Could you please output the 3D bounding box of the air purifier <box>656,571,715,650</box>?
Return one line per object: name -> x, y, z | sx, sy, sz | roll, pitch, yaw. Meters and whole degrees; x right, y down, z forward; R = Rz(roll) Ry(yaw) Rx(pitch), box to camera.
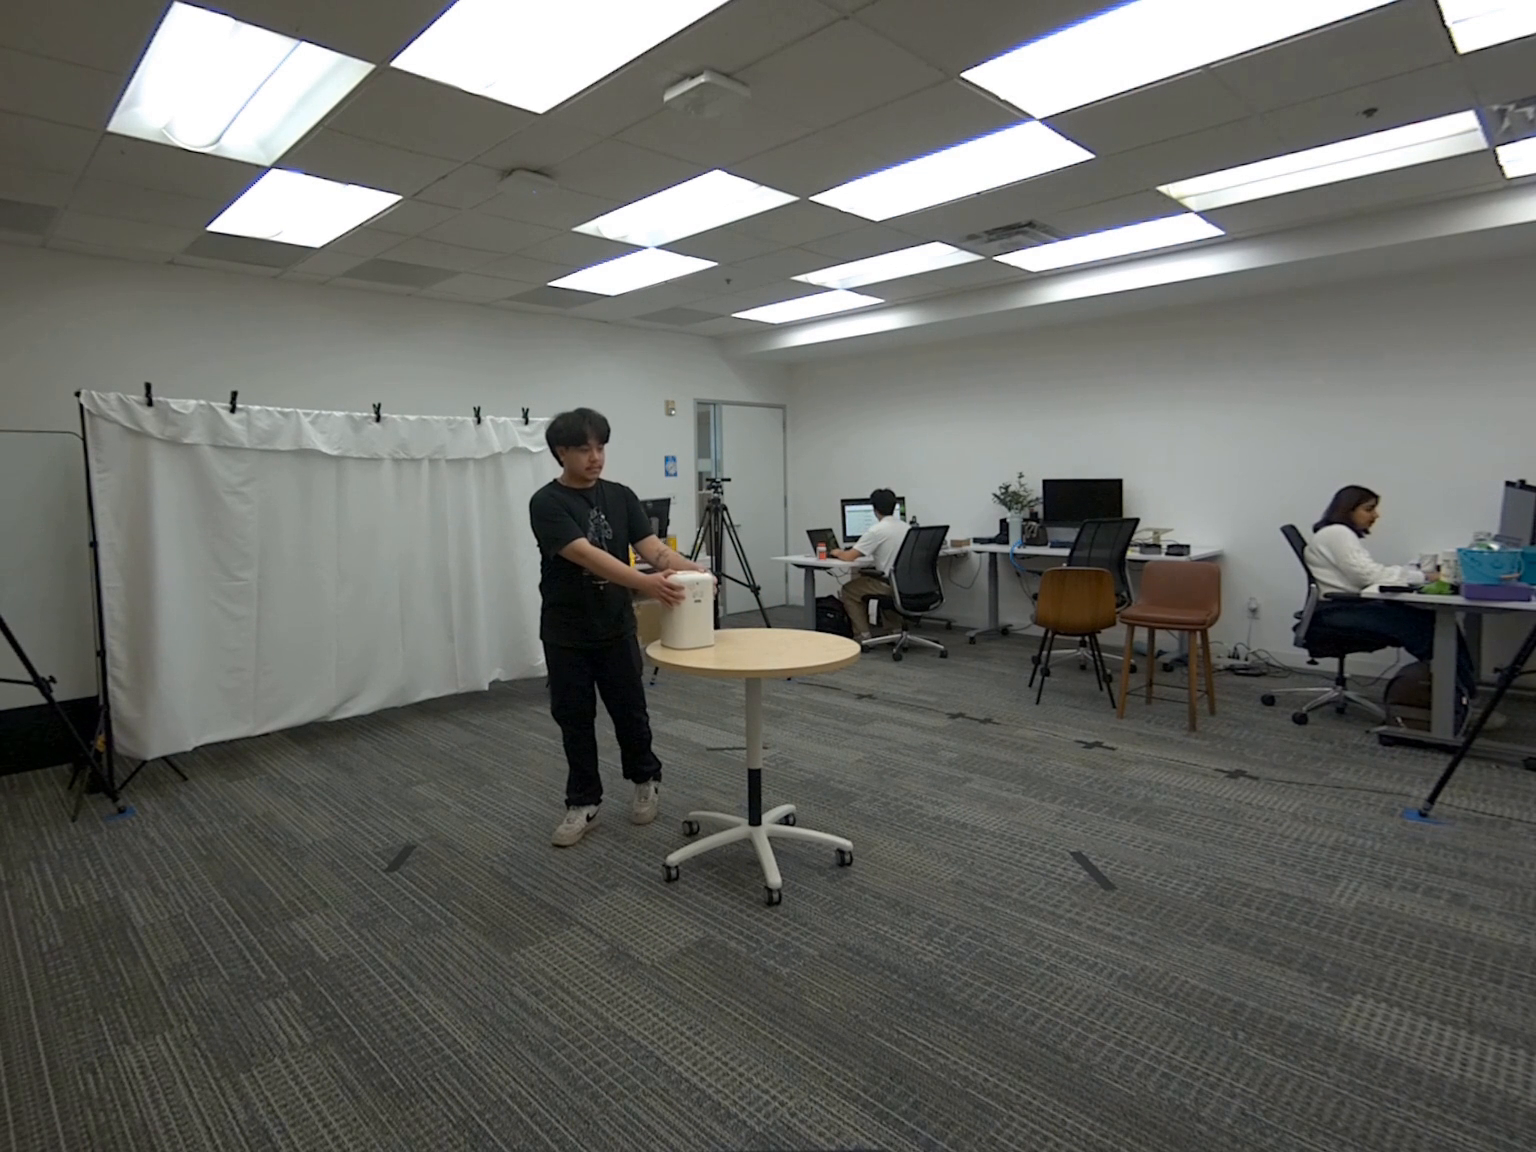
air purifier -> -0.289, 0.120, 3.112 | 0.167, 0.264, 0.176 | -5, 4, -30
